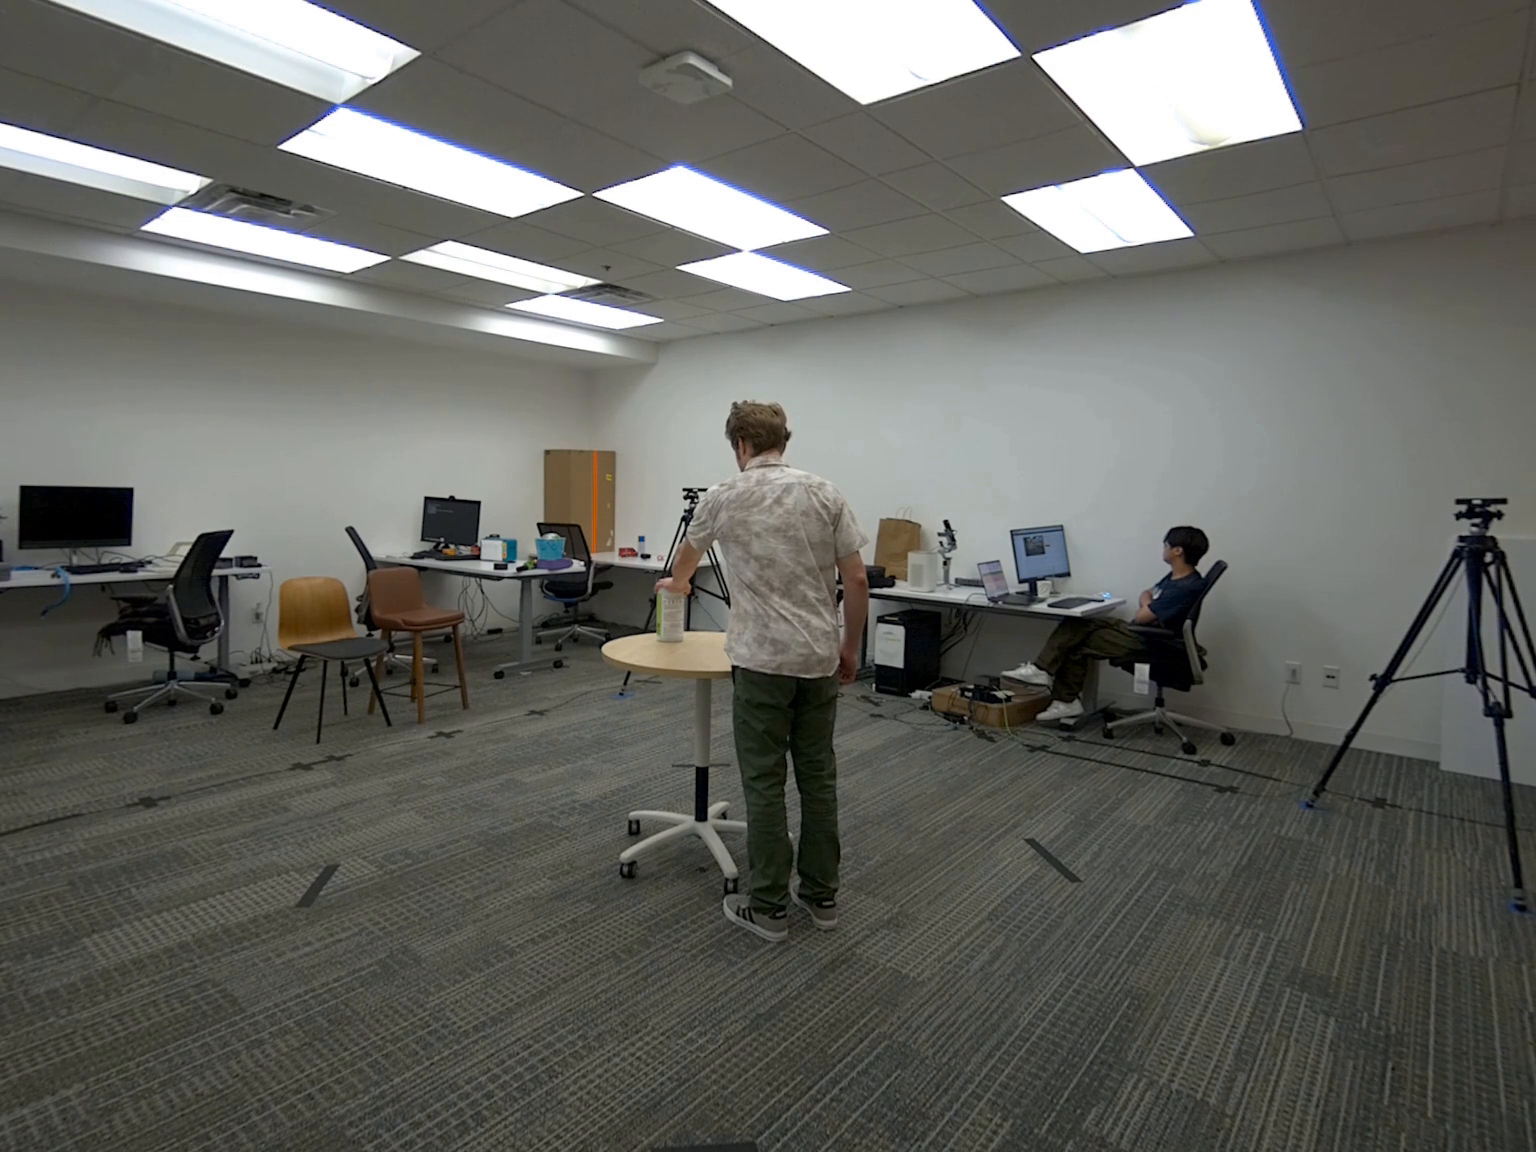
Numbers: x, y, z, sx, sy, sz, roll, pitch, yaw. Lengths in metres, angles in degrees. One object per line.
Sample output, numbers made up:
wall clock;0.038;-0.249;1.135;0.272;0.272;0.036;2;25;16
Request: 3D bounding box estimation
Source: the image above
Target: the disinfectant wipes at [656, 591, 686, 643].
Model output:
disinfectant wipes;-0.394;0.143;3.351;0.118;0.217;0.118;-1;4;-2
